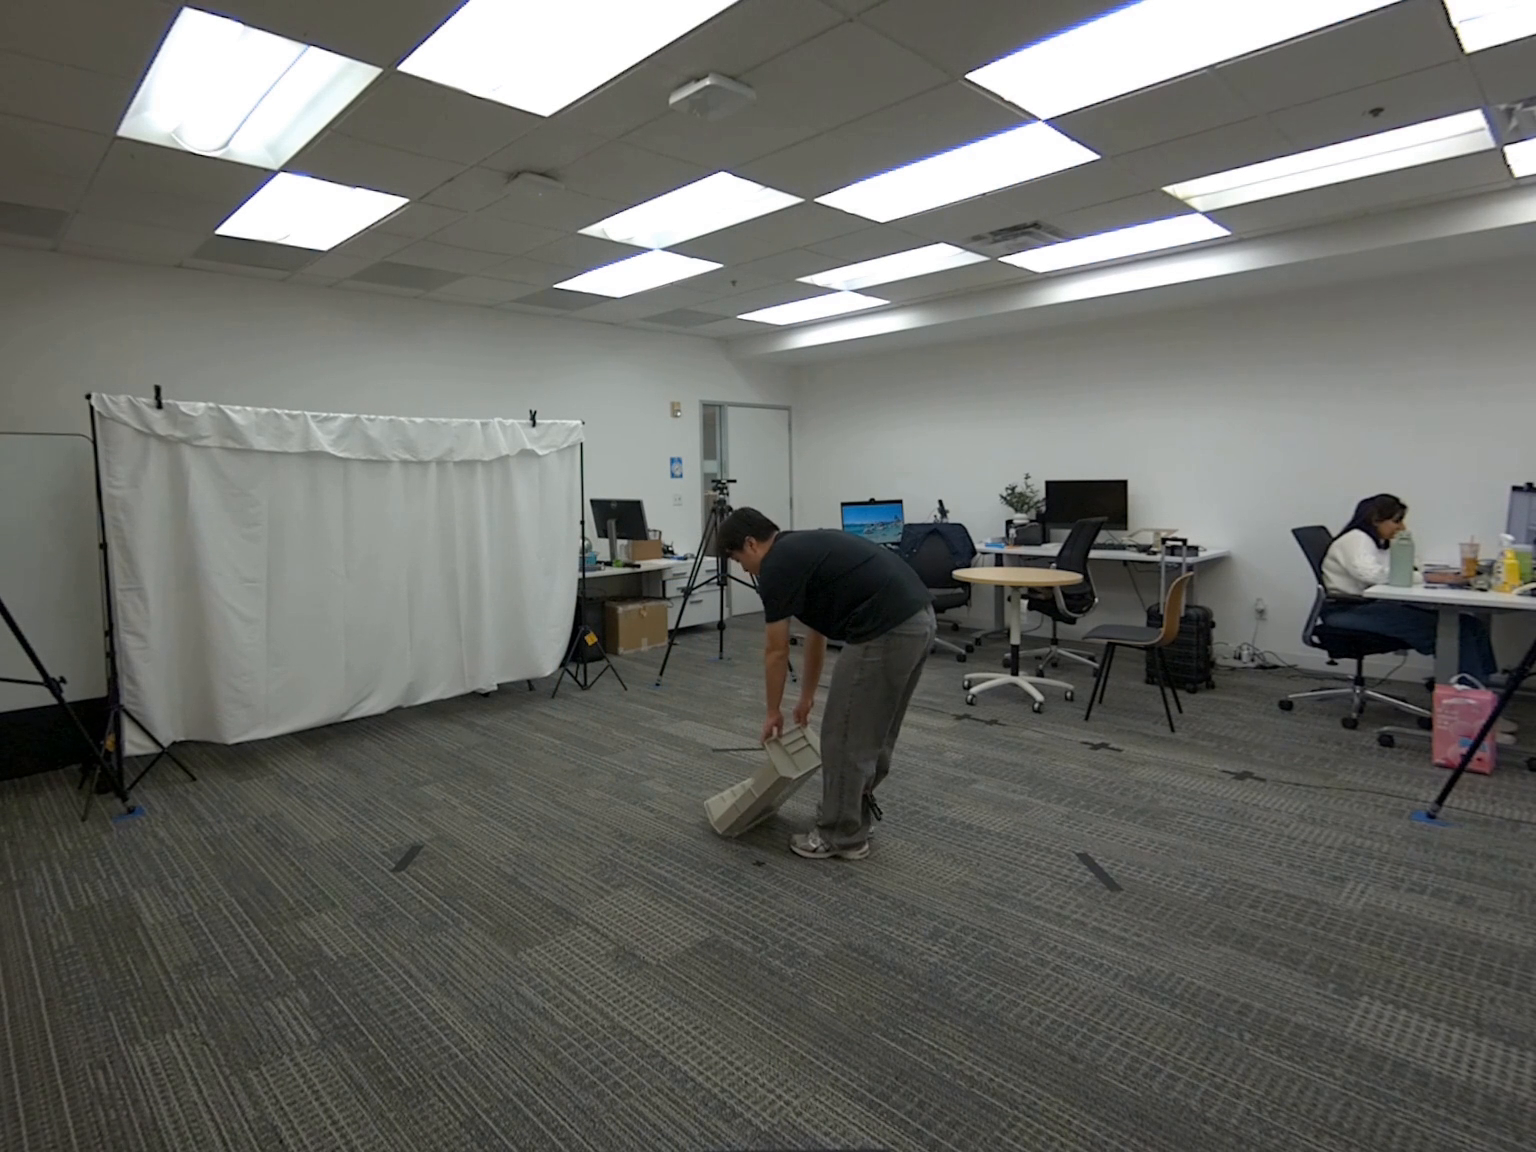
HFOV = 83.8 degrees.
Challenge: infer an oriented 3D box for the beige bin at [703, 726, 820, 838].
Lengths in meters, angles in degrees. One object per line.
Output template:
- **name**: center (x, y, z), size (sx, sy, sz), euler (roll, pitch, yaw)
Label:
- **beige bin**: center (0.004, 0.805, 3.376), size (0.421, 0.194, 0.368), euler (-50, -22, 27)
